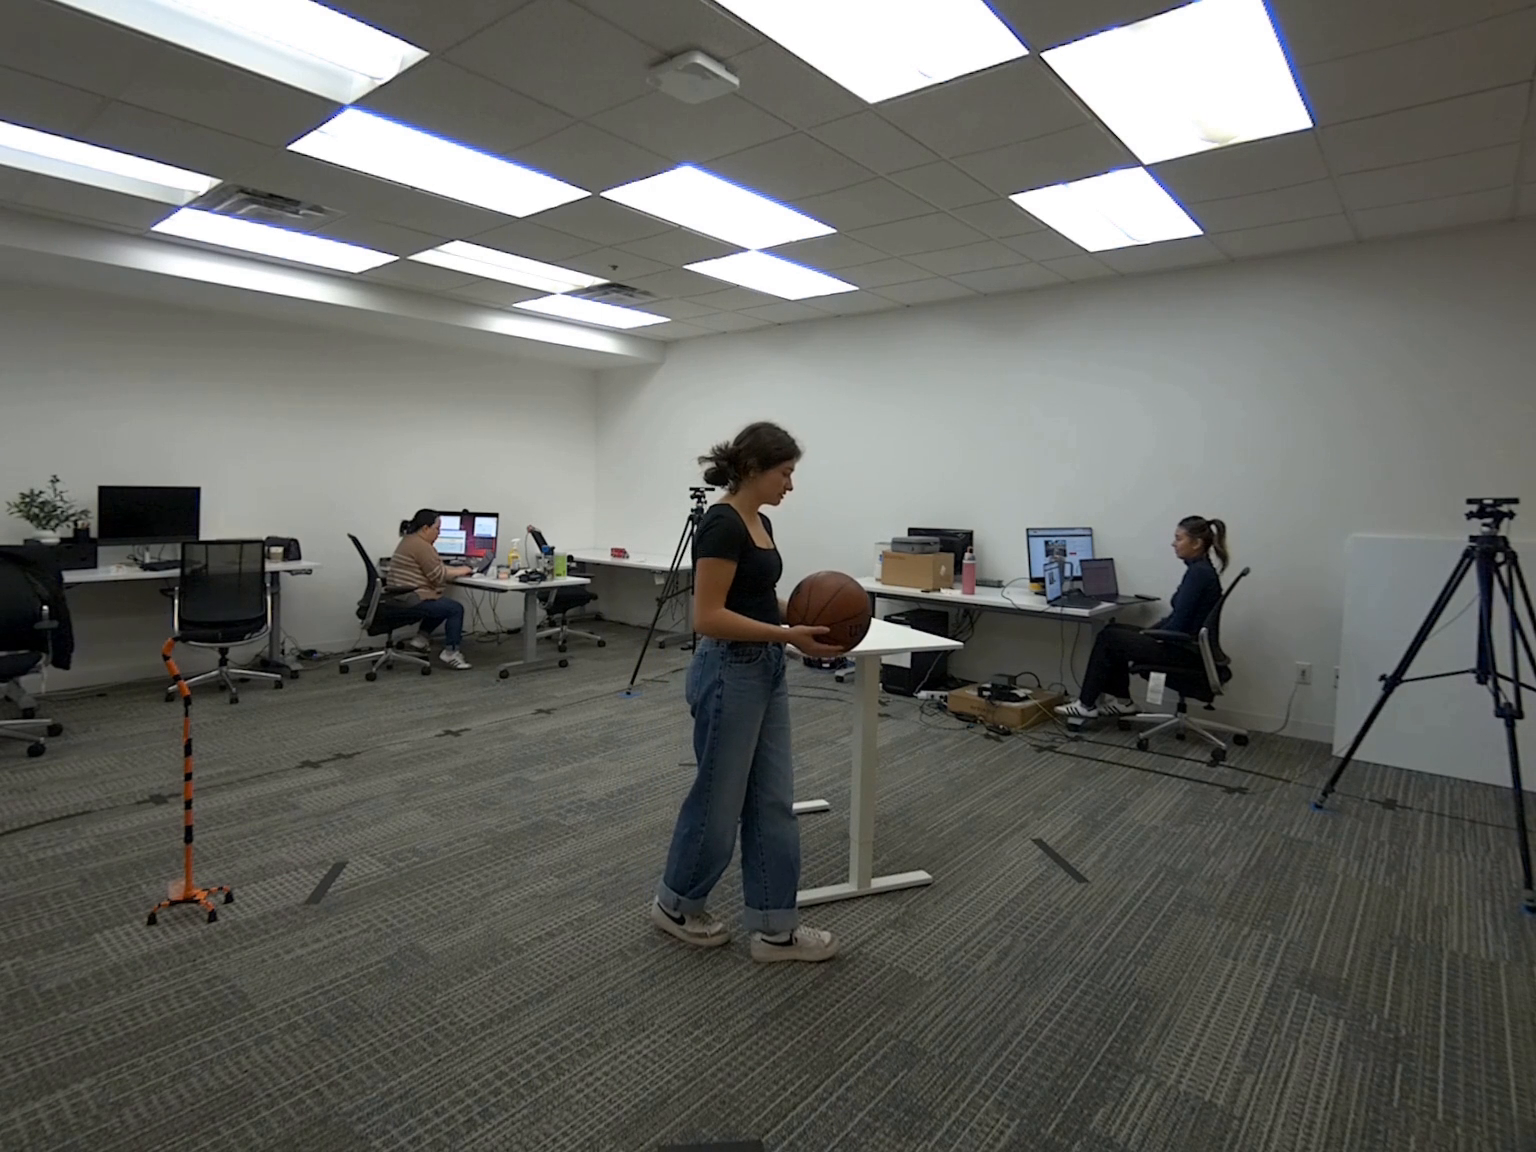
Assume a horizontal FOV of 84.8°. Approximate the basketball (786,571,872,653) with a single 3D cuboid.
[{"bbox_3d":[0.163,0.106,2.393,0.235,0.235,0.237,1,4,-2],"label":"basketball"}]
